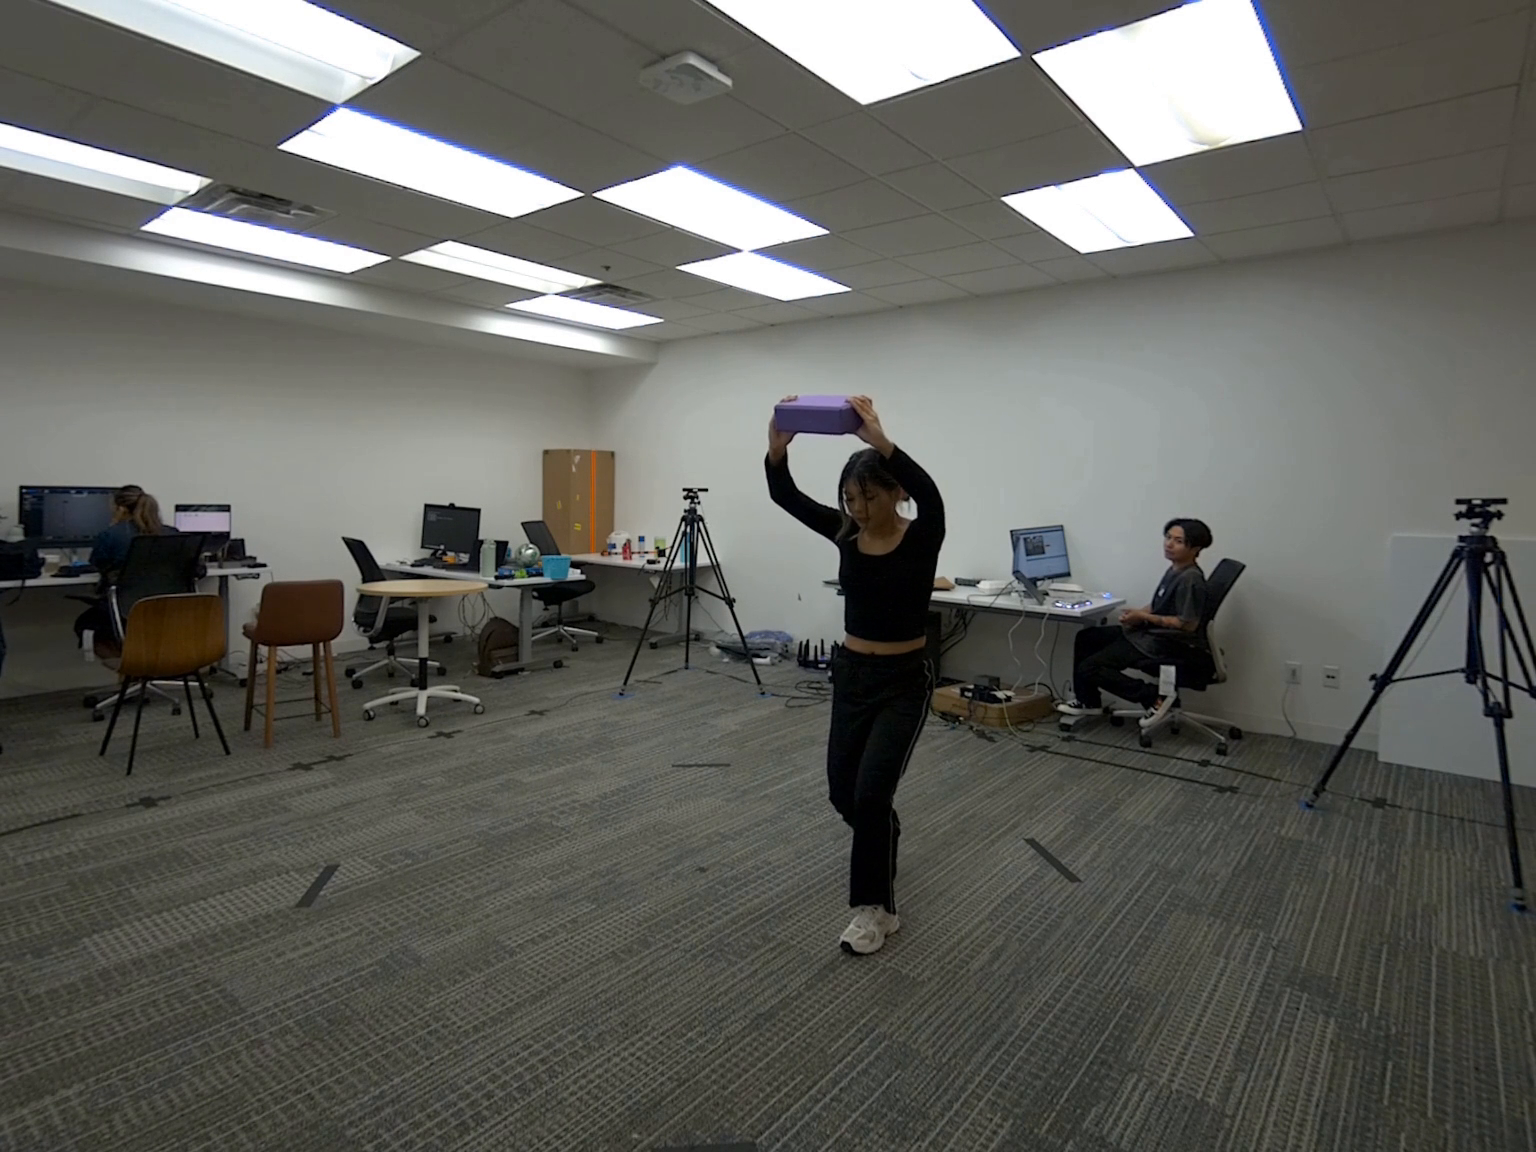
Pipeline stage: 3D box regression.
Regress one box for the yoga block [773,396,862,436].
[{"bbox_3d":[0.145,-0.433,2.310,0.238,0.075,0.146,13,27,40],"label":"yoga block"}]
